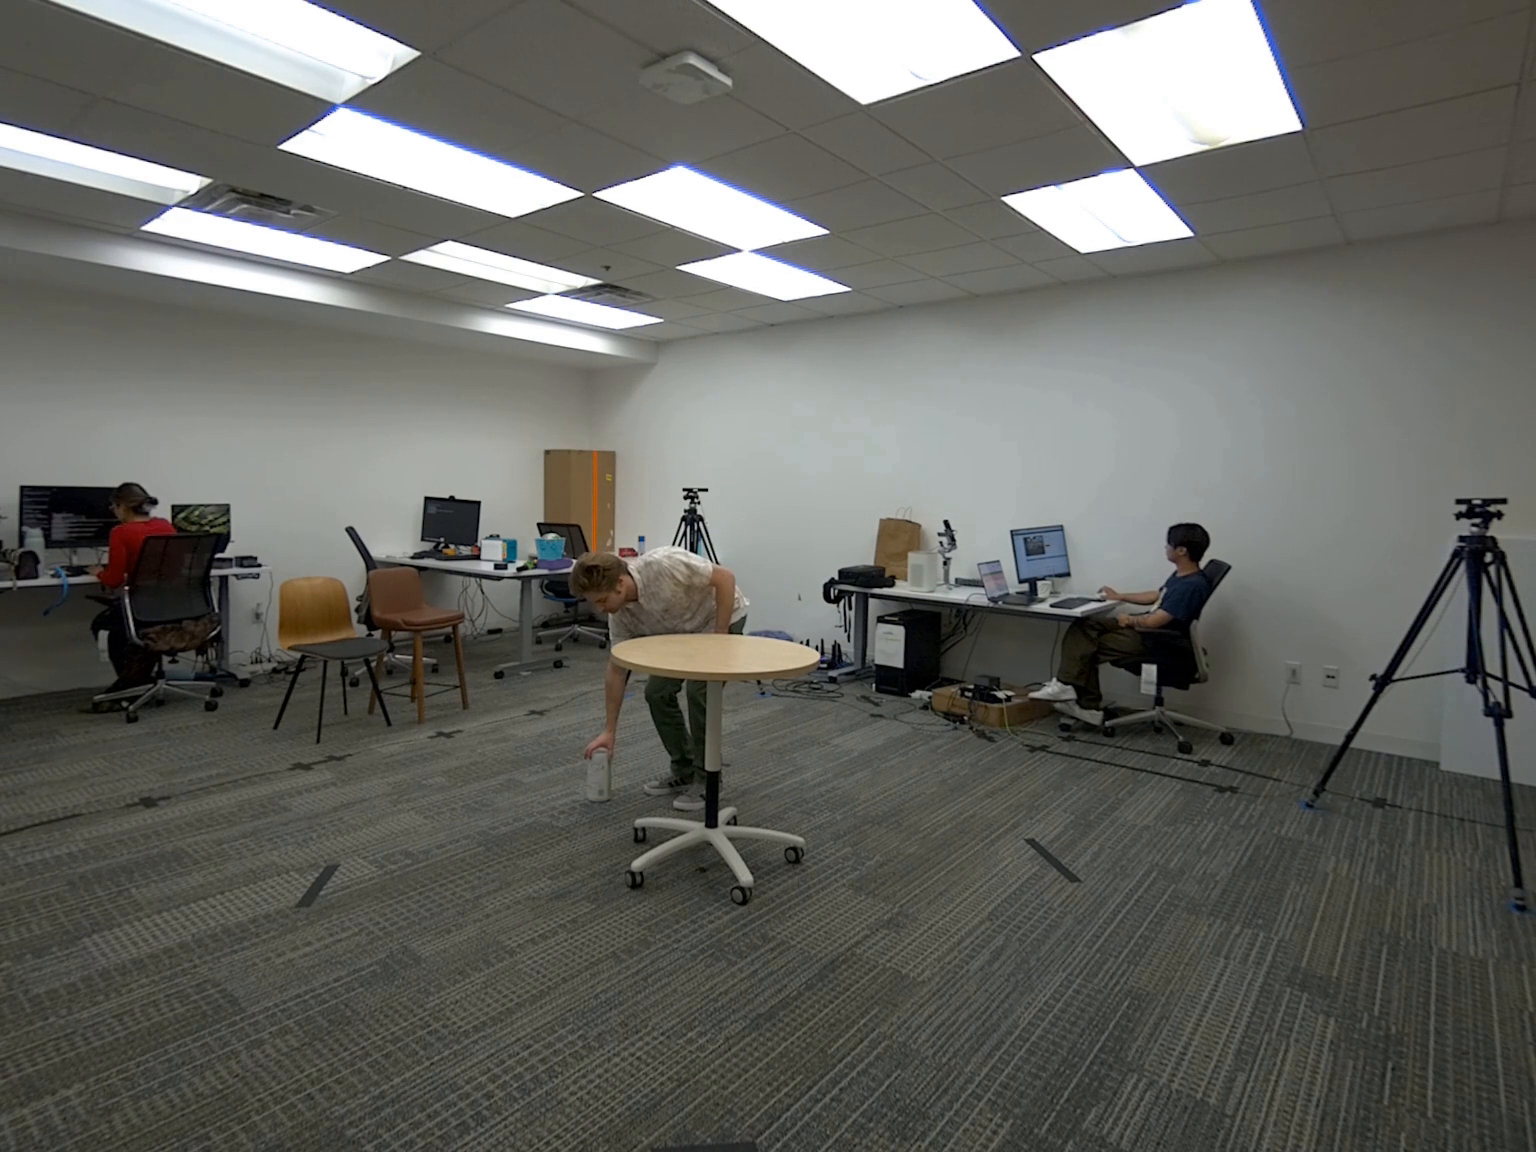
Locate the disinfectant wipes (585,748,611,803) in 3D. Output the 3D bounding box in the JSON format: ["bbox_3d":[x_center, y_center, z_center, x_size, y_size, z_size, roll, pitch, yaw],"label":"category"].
[{"bbox_3d":[-0.768,0.889,3.818,0.118,0.217,0.118,1,3,-2],"label":"disinfectant wipes"}]
